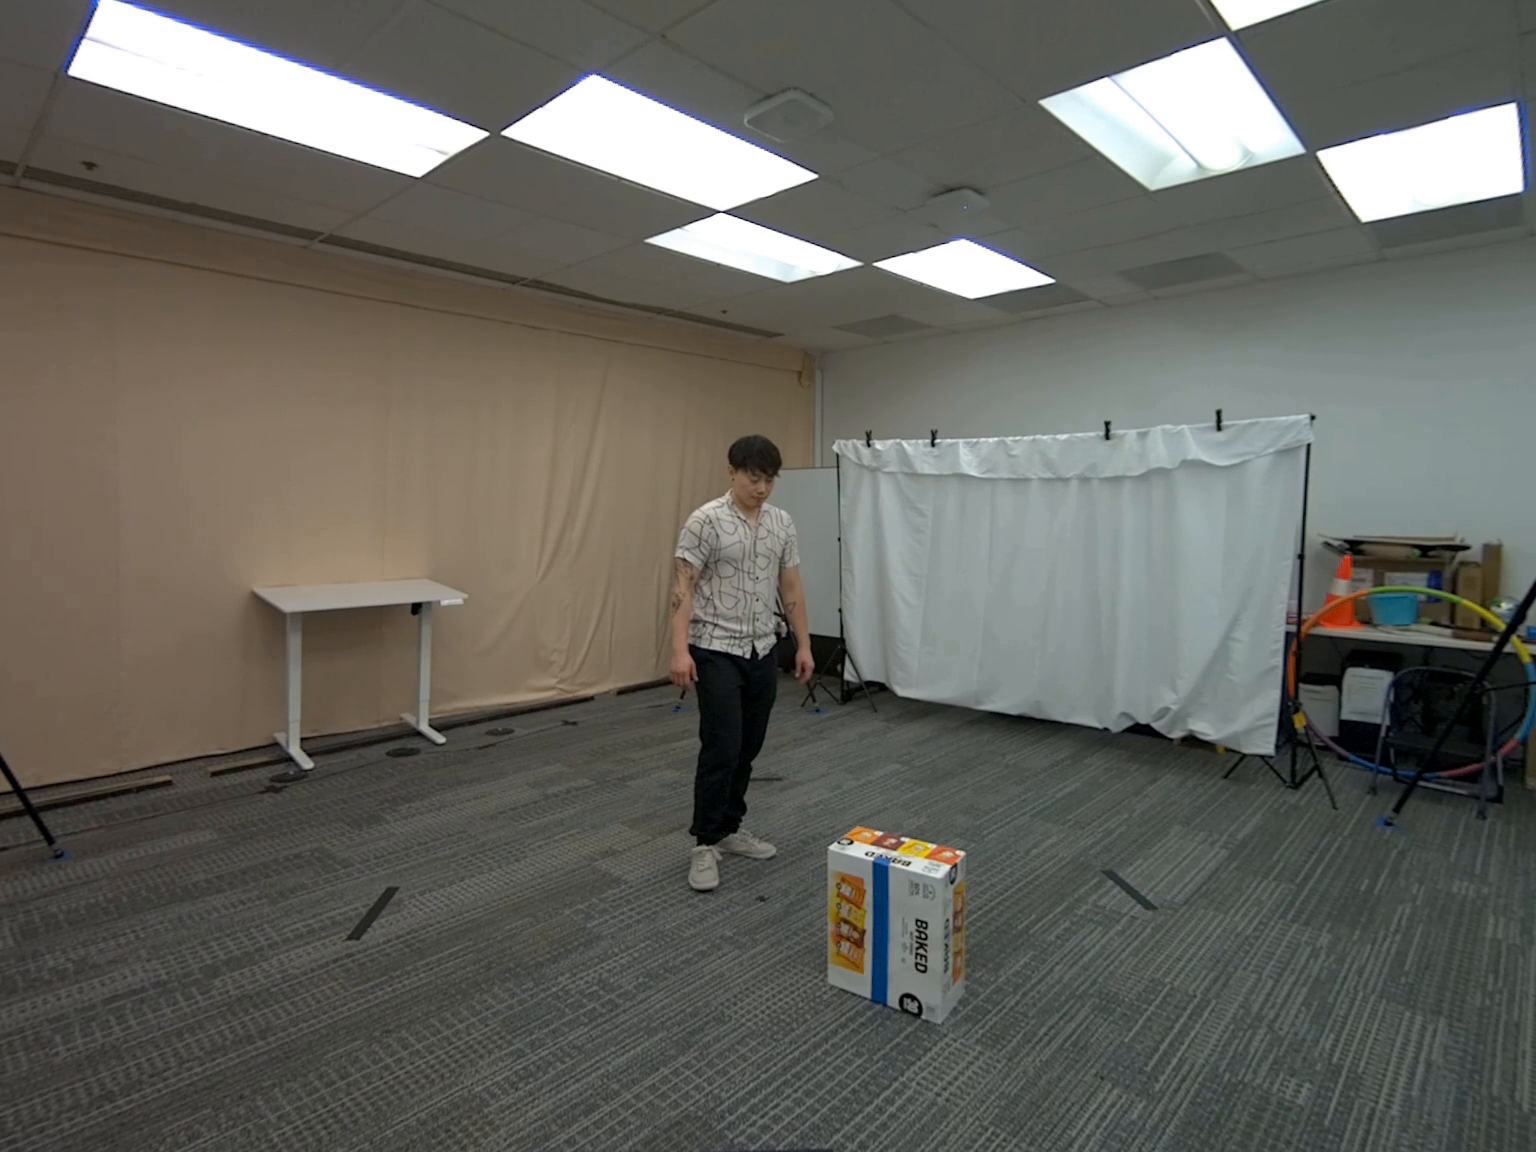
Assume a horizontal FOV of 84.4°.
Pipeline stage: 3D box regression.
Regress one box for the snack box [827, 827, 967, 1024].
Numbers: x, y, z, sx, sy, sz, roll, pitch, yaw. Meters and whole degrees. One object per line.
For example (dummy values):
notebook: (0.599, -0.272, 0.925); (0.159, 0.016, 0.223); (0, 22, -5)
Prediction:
snack box: (0.378, 0.987, 2.416); (0.351, 0.404, 0.200); (2, 4, 34)
